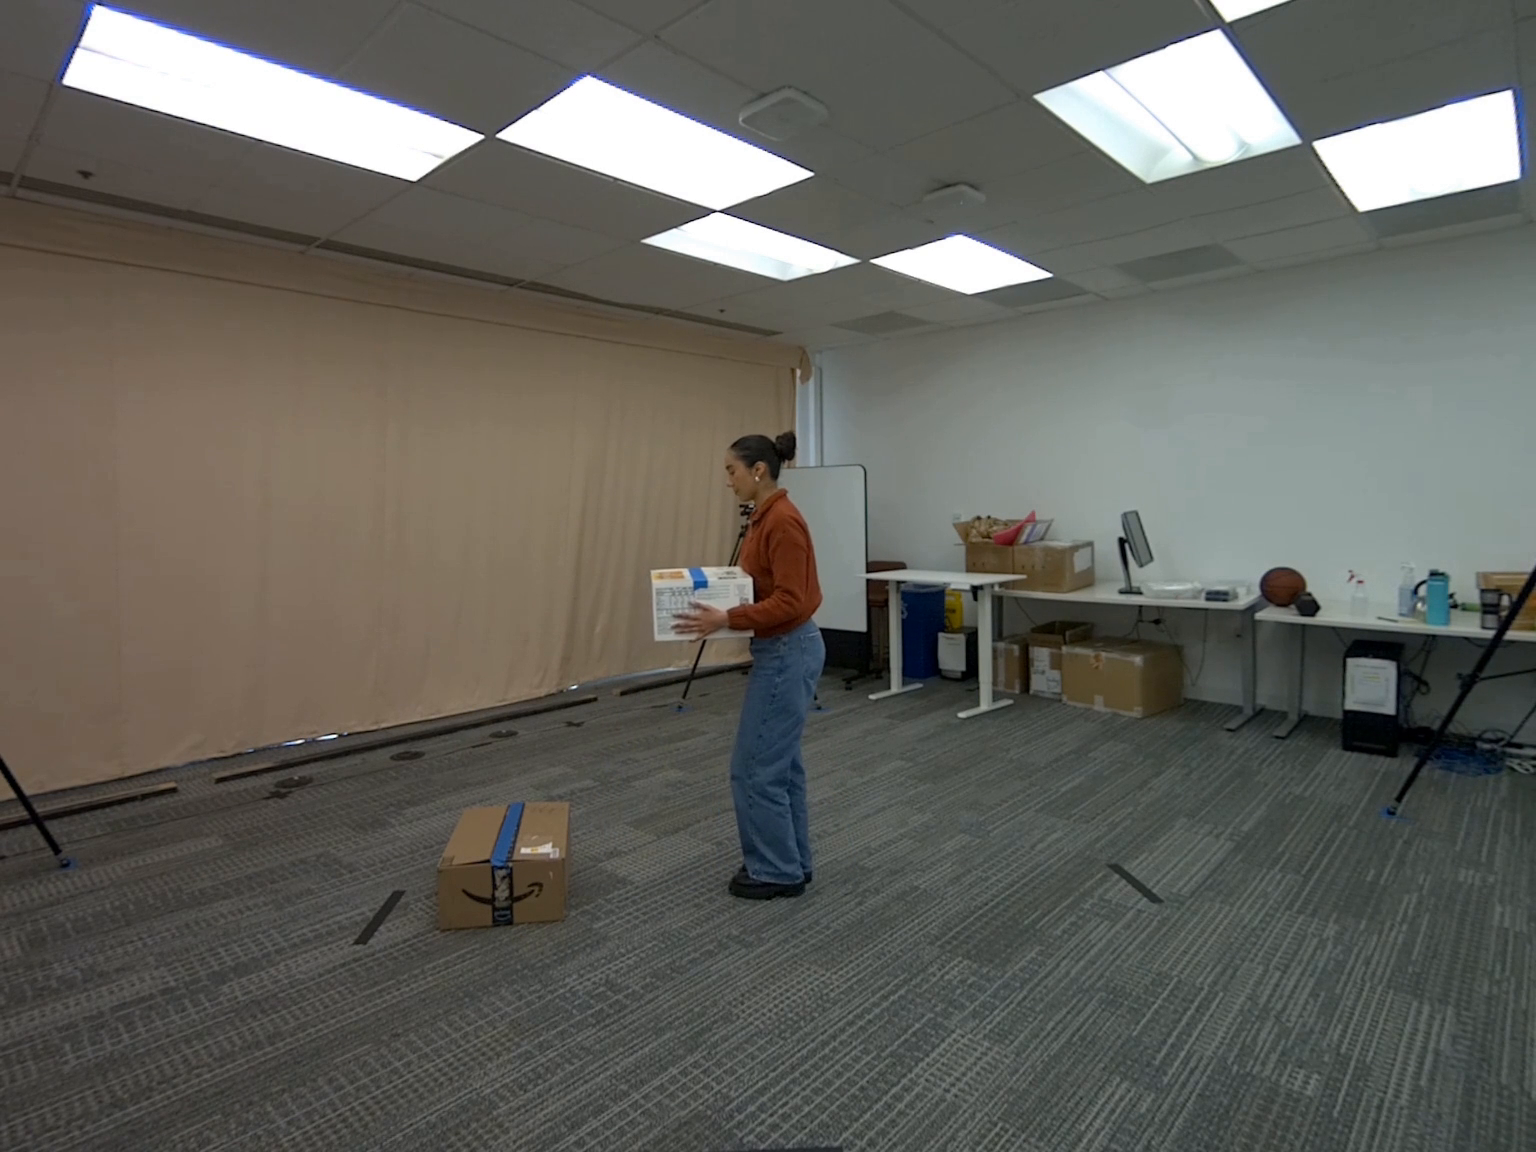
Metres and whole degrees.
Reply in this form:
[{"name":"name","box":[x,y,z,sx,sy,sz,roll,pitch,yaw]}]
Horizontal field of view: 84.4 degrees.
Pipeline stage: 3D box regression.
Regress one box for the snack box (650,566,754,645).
[{"name":"snack box","box":[-0.248,0.093,3.023,0.338,0.205,0.409,-2,6,-6]}]
